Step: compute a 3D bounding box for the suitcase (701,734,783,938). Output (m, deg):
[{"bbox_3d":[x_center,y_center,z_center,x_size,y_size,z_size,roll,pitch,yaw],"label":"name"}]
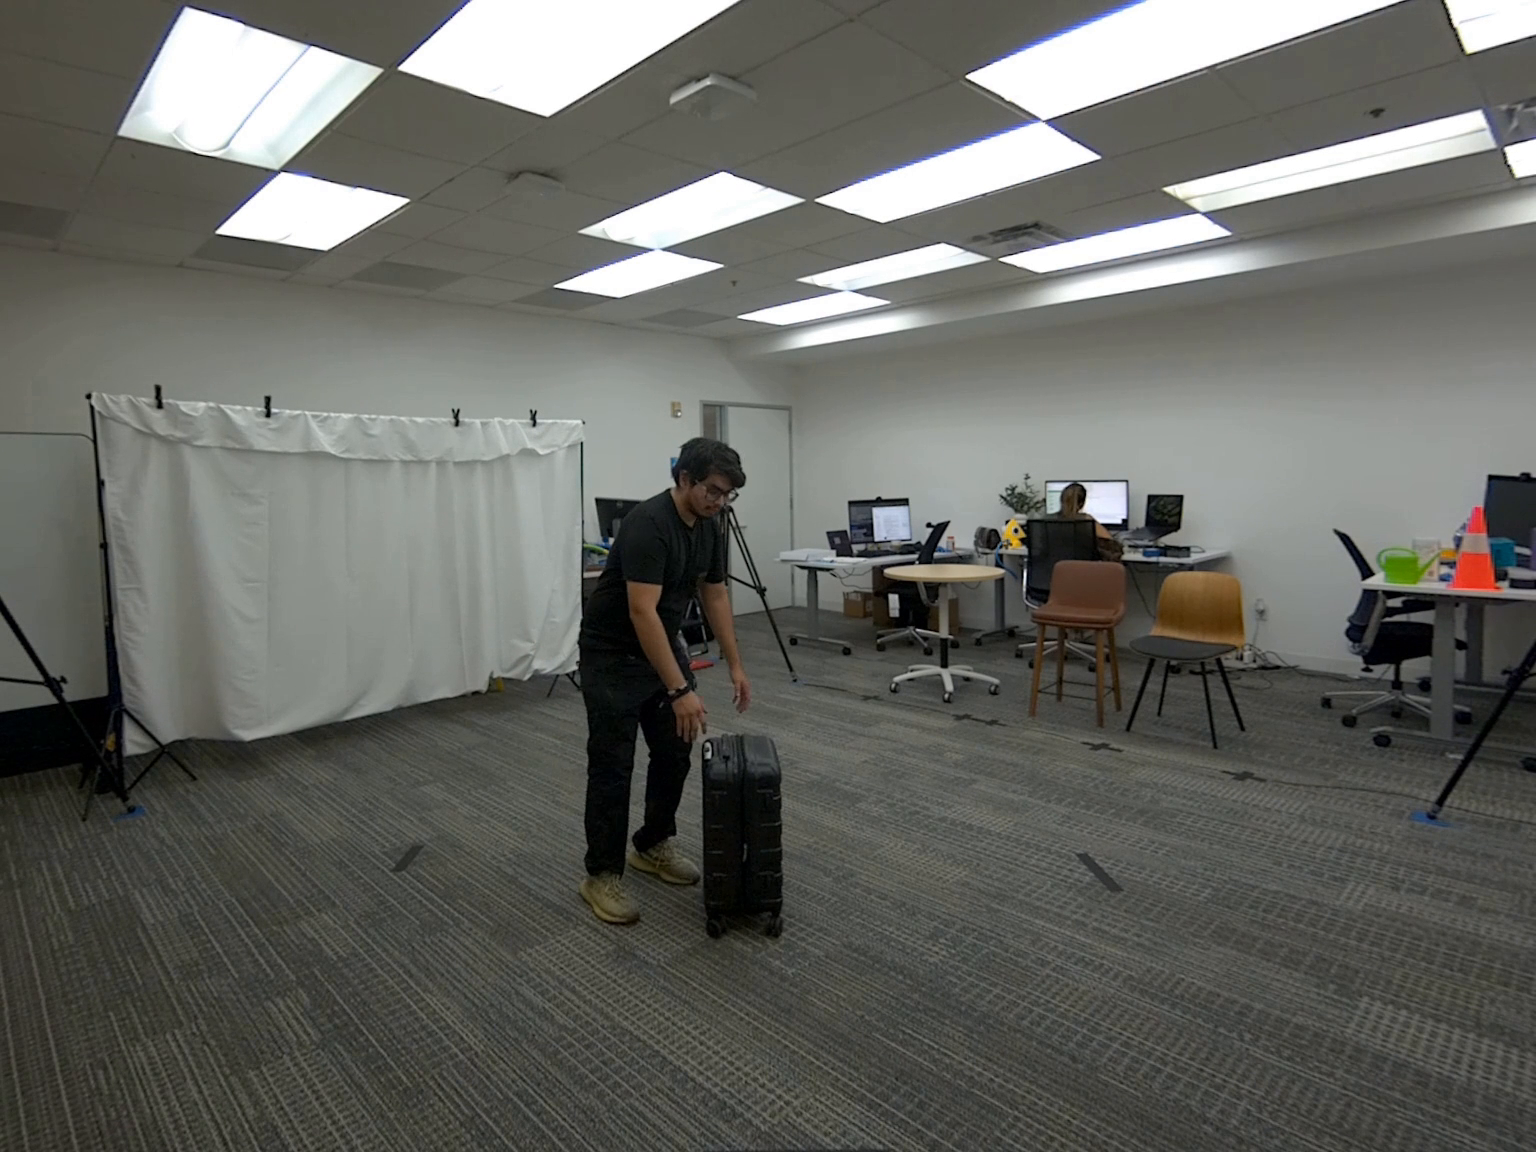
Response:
[{"bbox_3d":[-0.089,0.808,2.770,0.247,0.548,0.378,-1,4,-5],"label":"suitcase"}]
